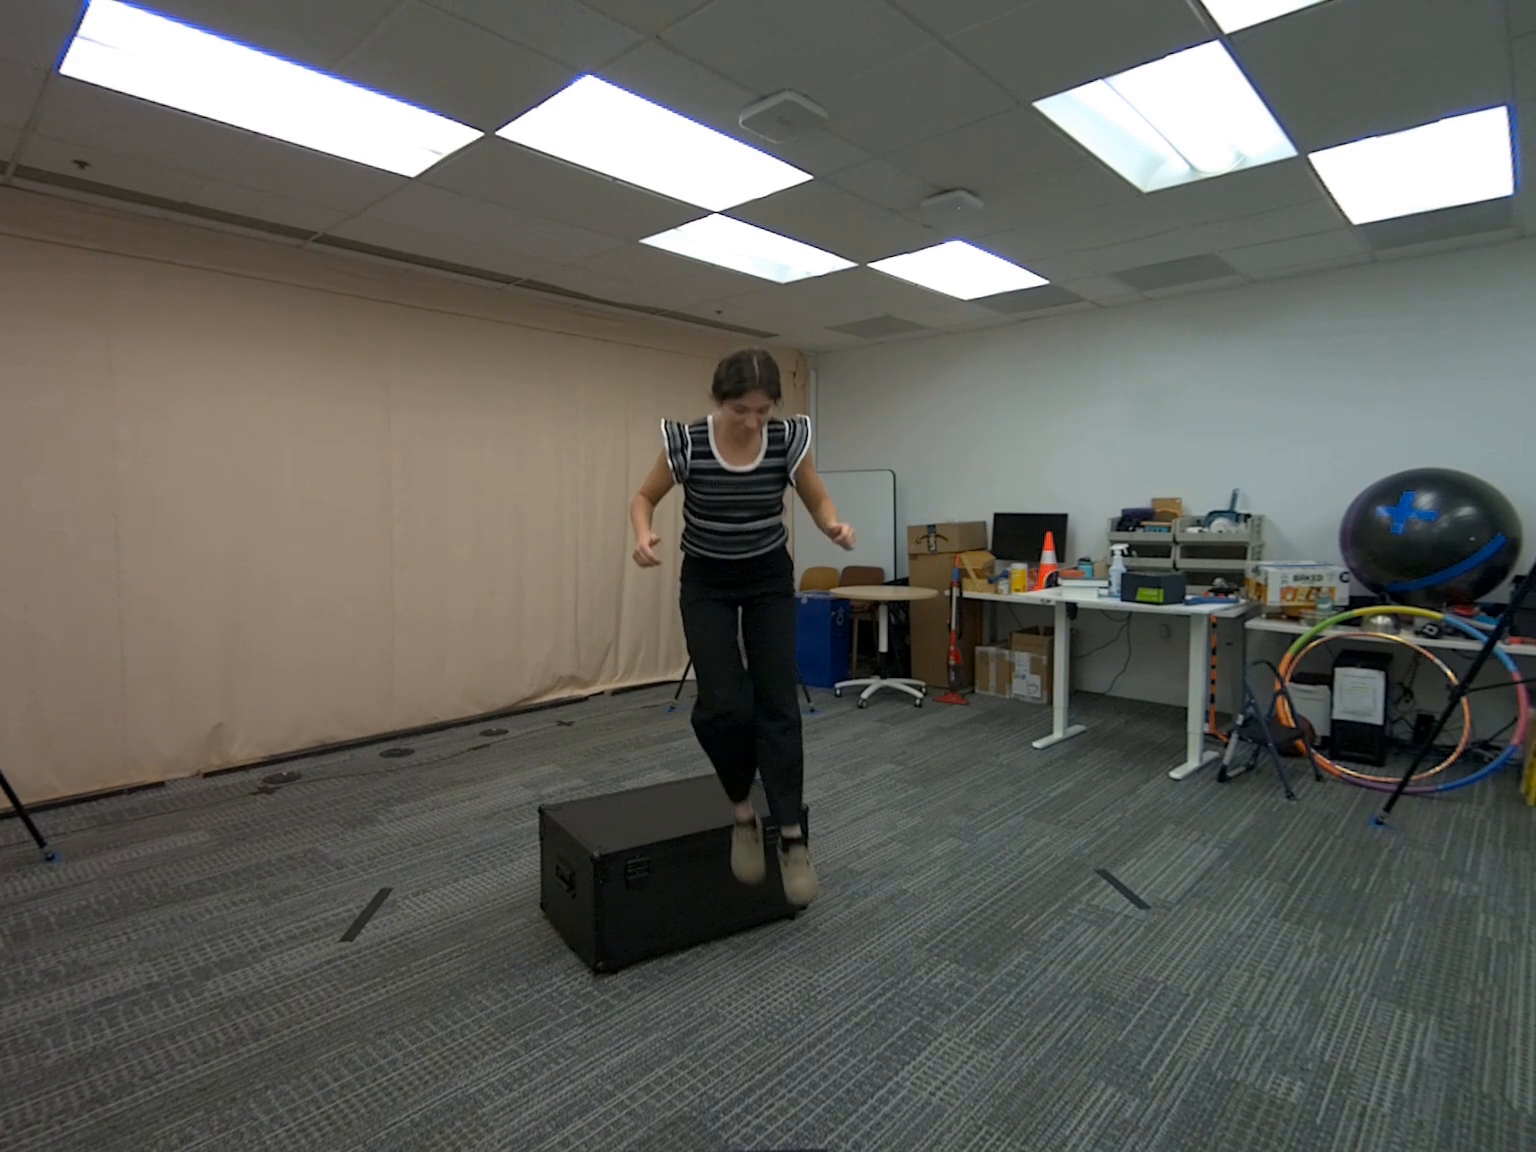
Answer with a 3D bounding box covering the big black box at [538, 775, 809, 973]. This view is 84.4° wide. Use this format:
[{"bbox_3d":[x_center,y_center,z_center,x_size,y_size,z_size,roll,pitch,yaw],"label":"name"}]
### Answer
[{"bbox_3d":[-0.292,0.965,2.872,0.838,0.395,0.537,-4,5,-32],"label":"big black box"}]
